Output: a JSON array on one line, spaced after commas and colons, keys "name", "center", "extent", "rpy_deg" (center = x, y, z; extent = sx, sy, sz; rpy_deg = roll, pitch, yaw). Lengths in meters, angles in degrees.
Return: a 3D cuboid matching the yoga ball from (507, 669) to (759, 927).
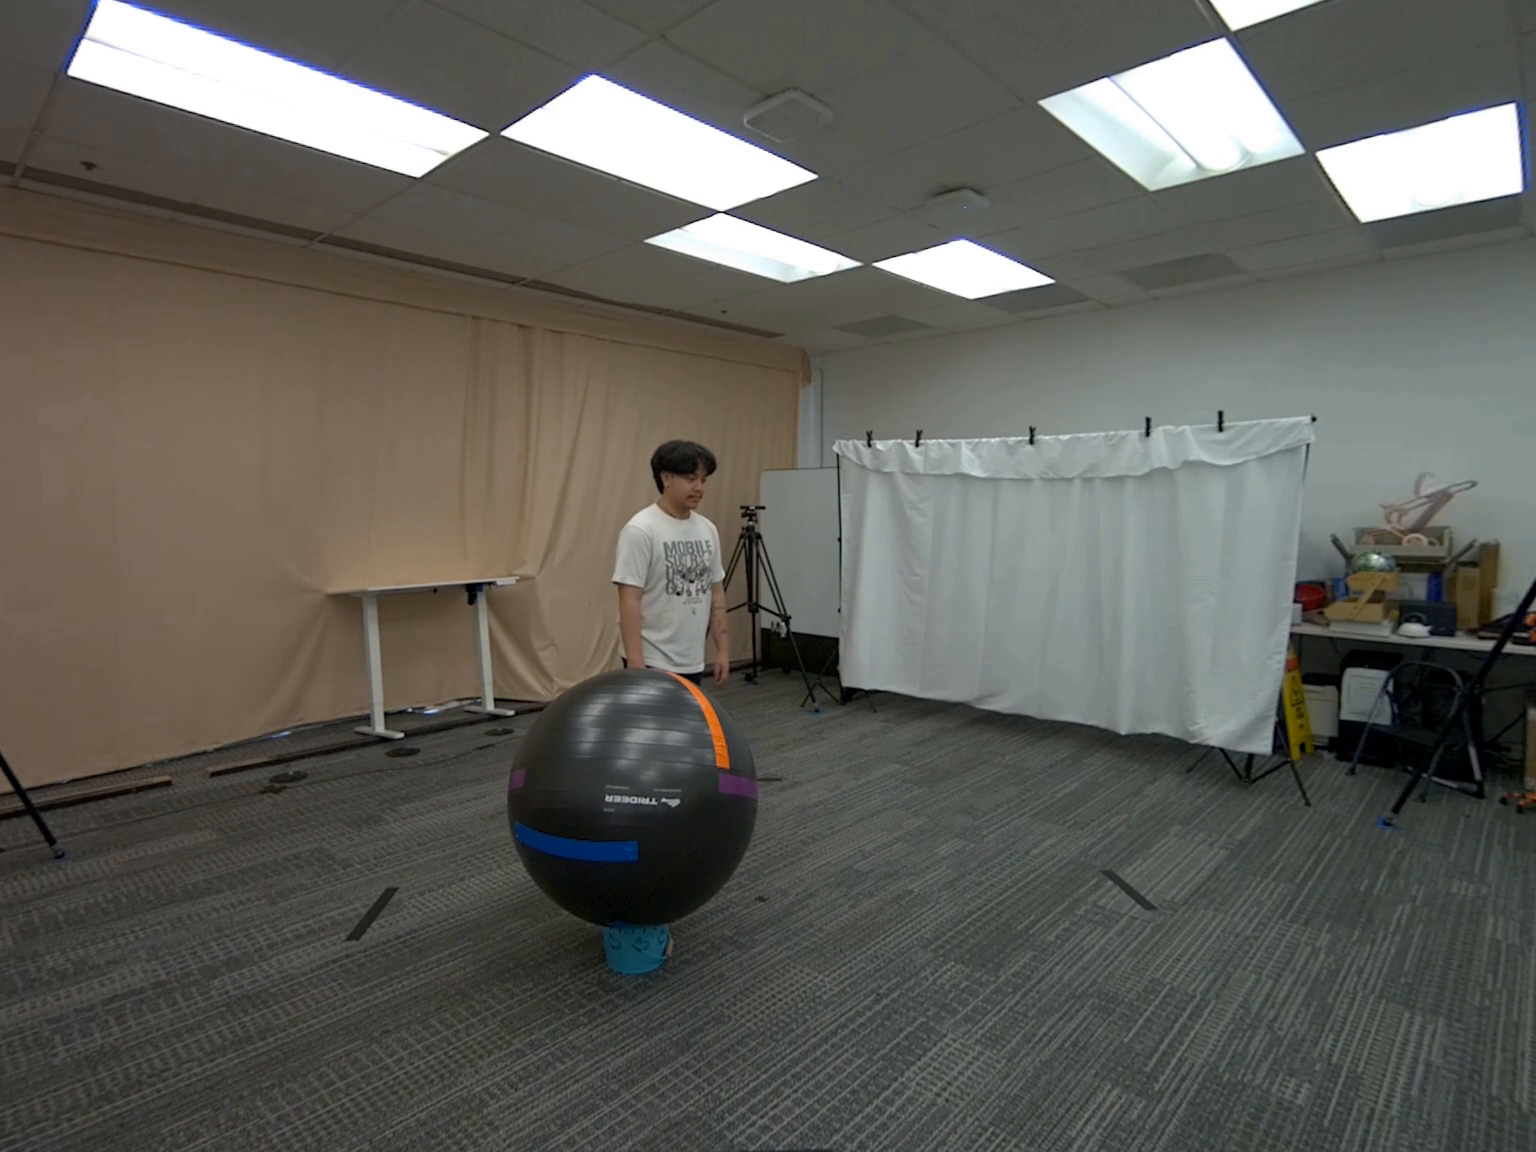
[{"name": "yoga ball", "center": [-0.413, 0.670, 2.569], "extent": [0.757, 0.756, 0.761], "rpy_deg": [0, 4, -2]}]
